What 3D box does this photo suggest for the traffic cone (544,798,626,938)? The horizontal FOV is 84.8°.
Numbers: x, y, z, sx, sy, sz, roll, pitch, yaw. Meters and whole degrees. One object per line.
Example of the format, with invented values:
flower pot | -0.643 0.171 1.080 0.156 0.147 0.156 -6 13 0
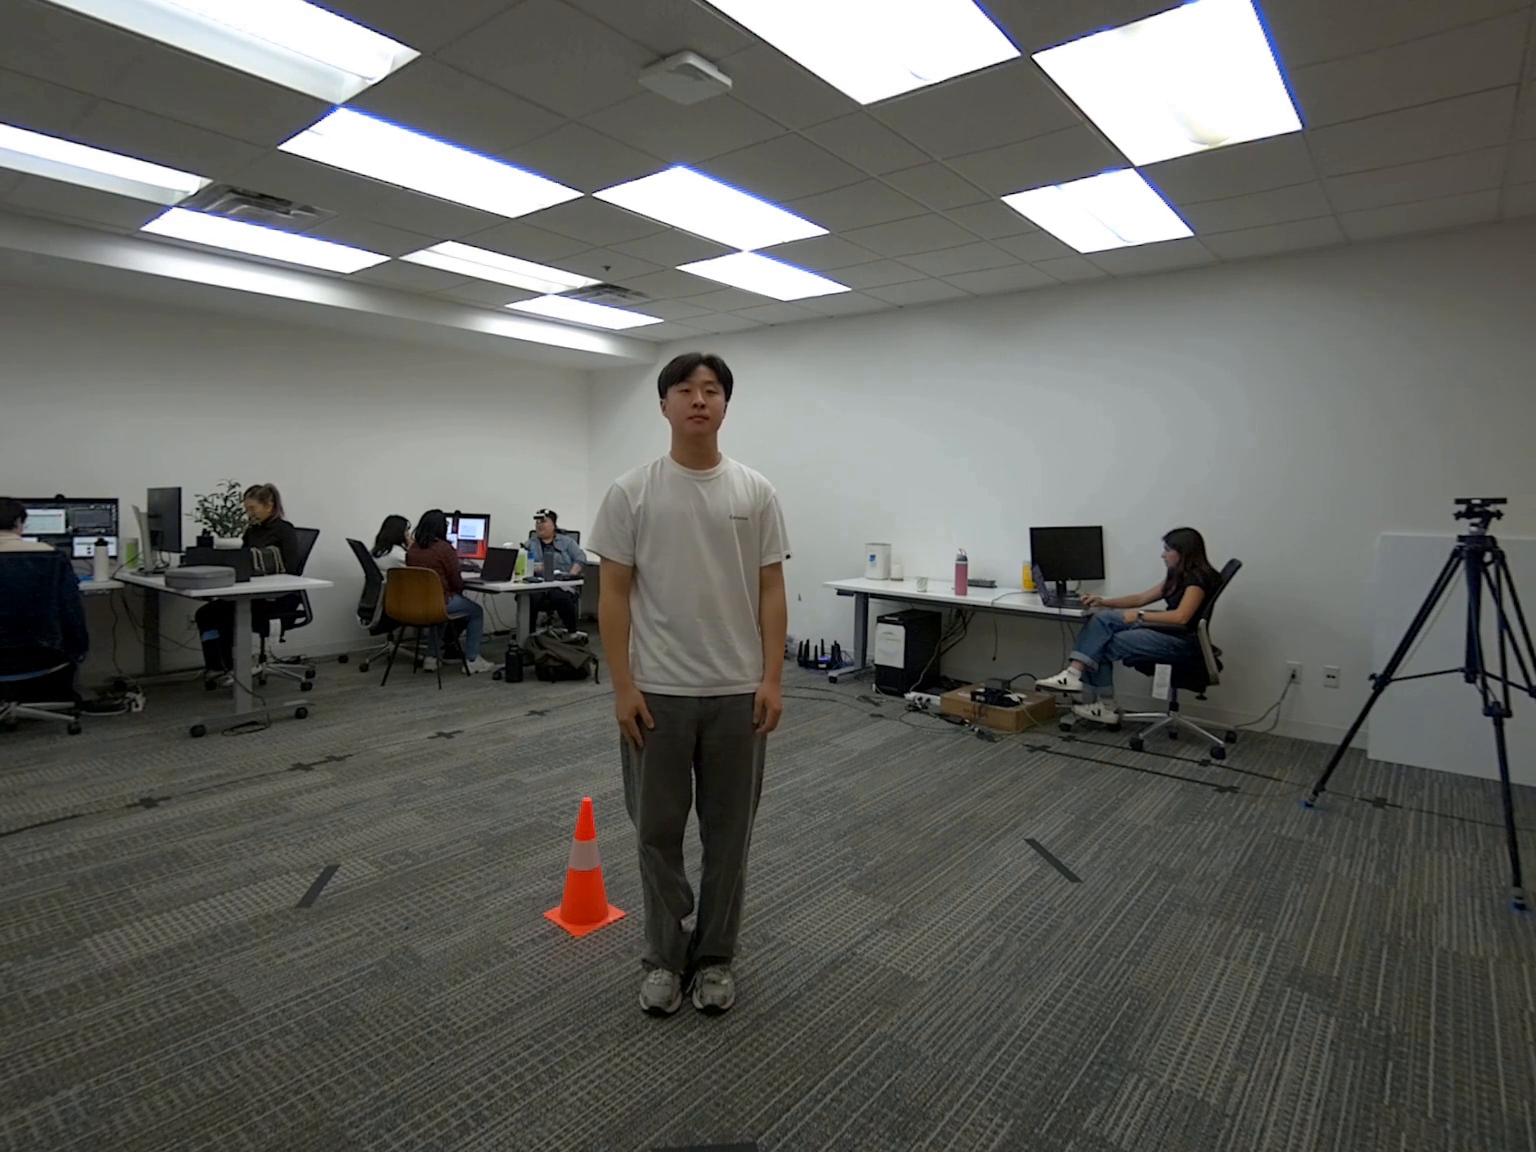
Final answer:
traffic cone | -0.592 0.911 2.756 0.210 0.383 0.199 4 4 44
